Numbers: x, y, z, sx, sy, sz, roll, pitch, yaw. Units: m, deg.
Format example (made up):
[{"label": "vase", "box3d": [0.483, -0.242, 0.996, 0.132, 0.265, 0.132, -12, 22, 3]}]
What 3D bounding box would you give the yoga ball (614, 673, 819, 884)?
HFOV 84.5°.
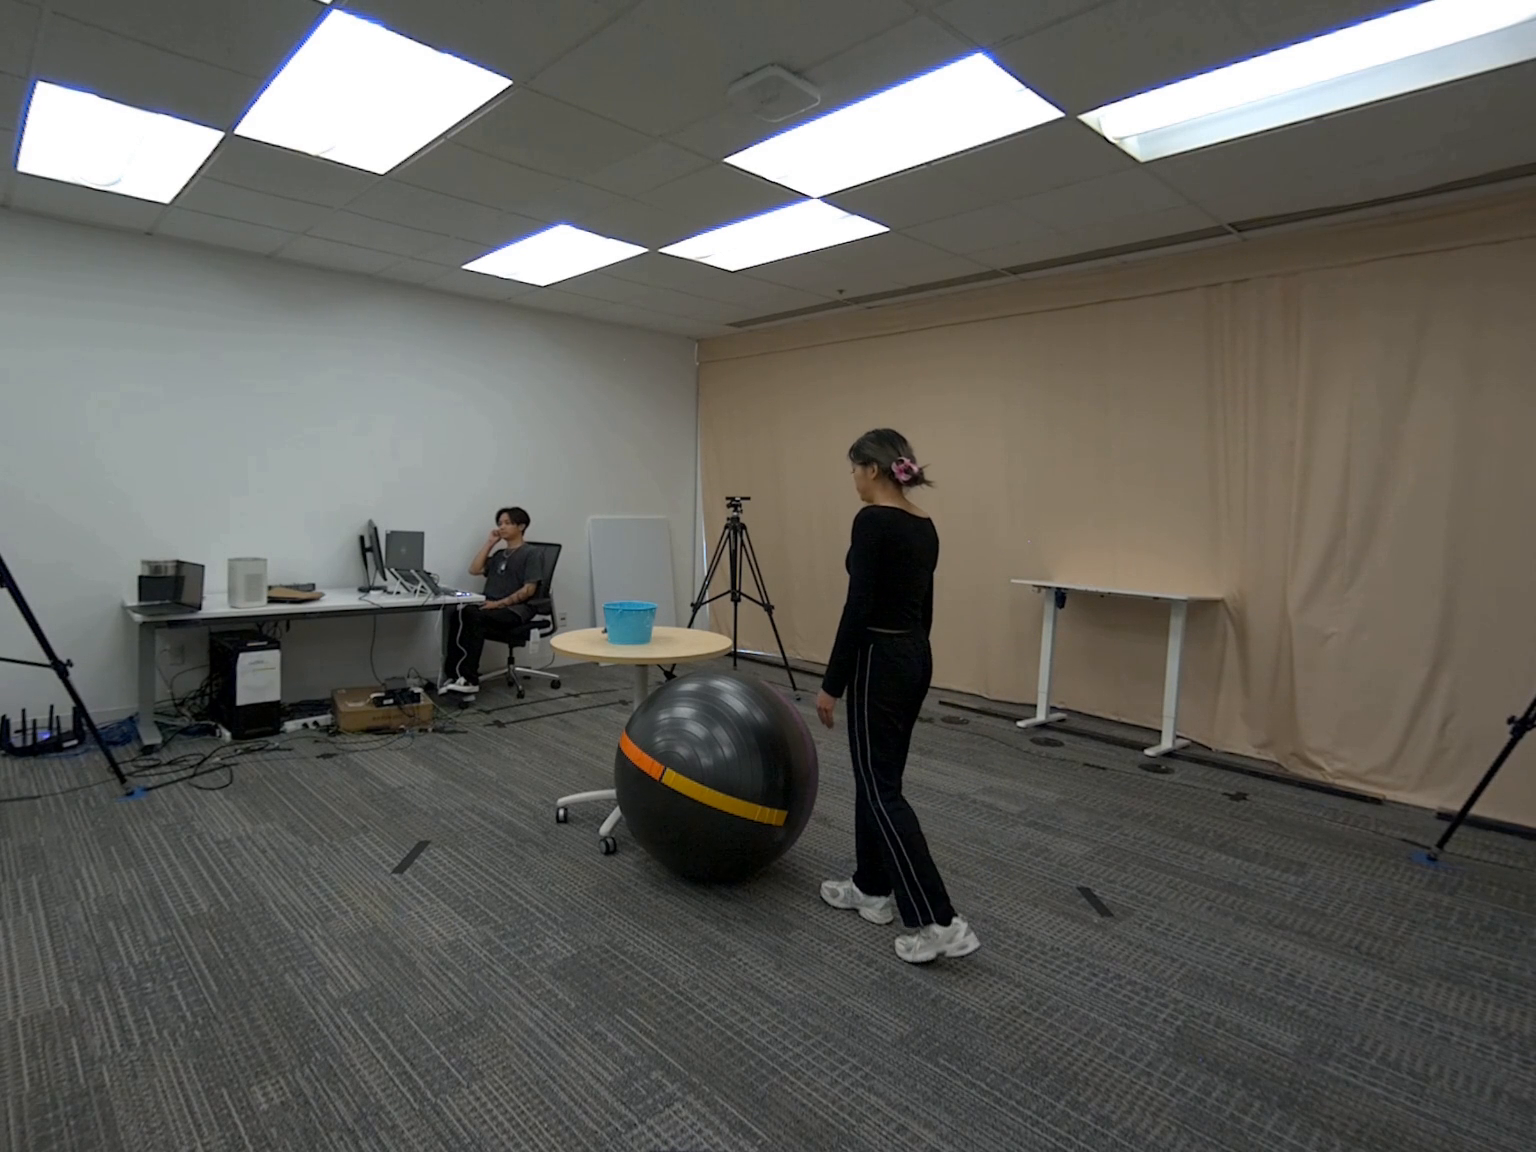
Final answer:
[{"label": "yoga ball", "box3d": [-0.197, 0.738, 3.145, 0.757, 0.756, 0.761, 1, 4, -1]}]
